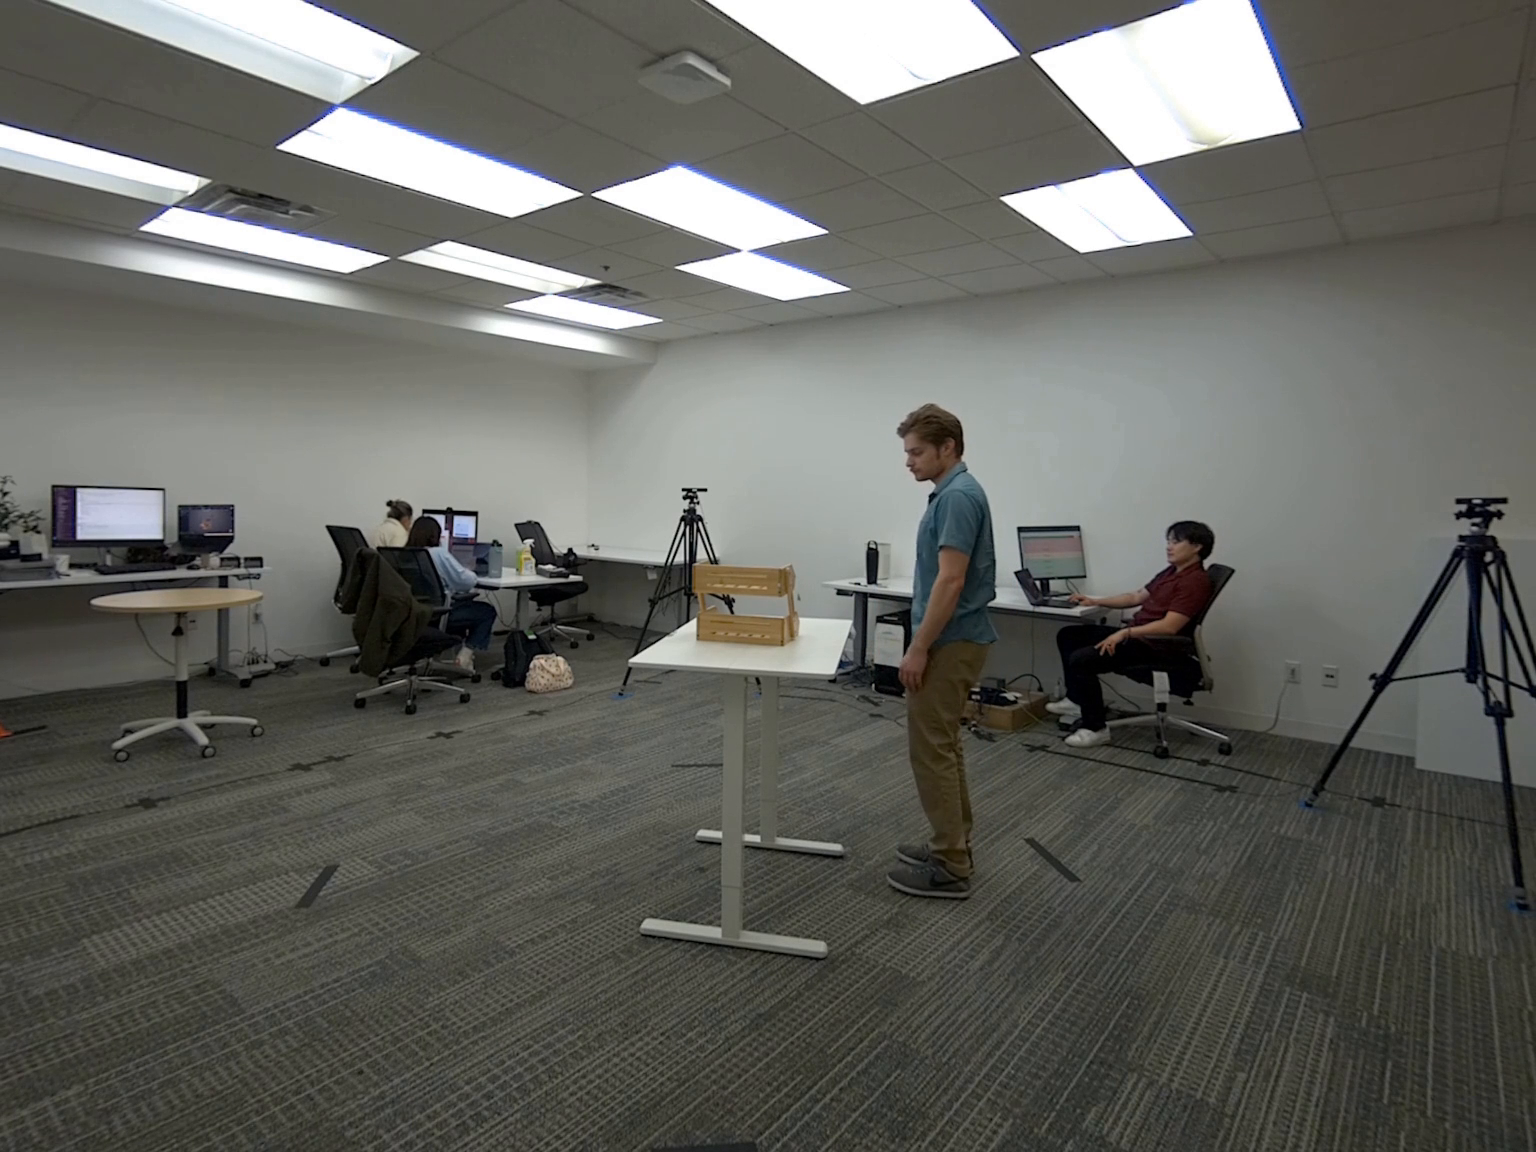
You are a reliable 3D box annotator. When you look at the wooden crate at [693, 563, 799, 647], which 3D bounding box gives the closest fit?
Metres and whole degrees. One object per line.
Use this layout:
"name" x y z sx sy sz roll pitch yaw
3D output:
"wooden crate" -0.075 0.078 2.902 0.330 0.272 0.298 2 5 15
